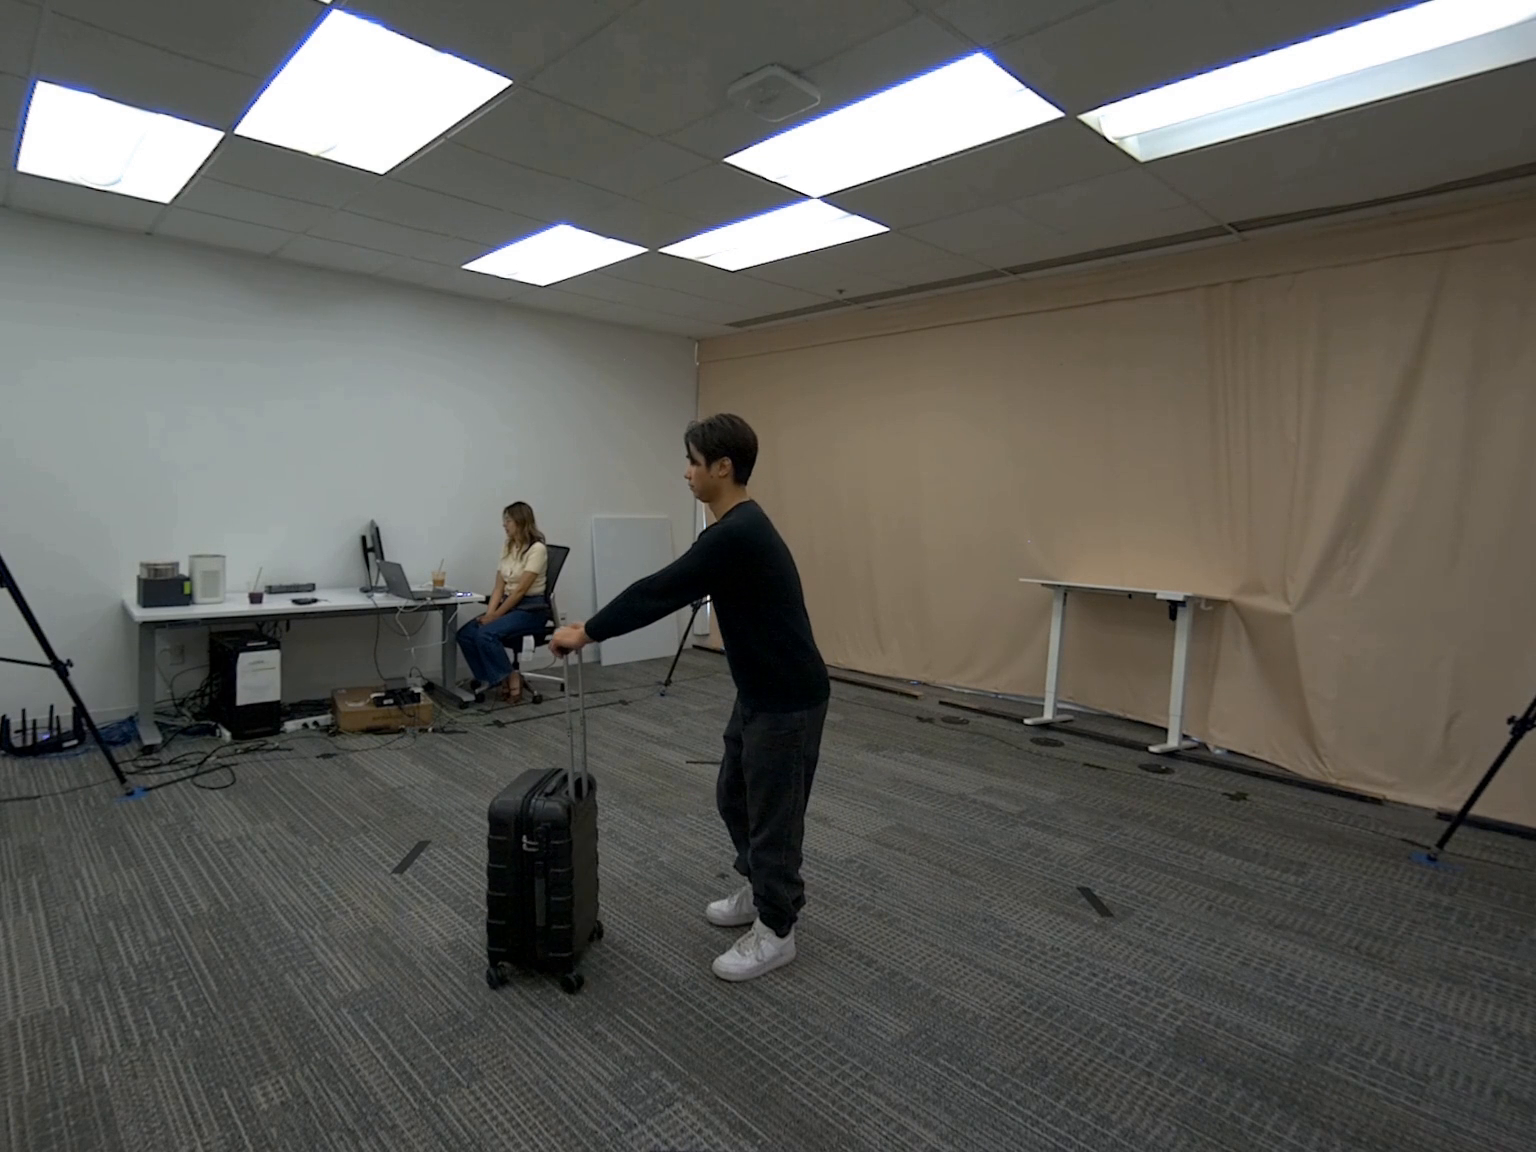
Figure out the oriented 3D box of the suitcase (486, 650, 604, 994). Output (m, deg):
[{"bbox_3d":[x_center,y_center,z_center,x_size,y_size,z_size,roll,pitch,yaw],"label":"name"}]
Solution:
[{"bbox_3d":[-0.670,0.674,2.512,0.258,0.978,0.383,-2,1,4],"label":"suitcase"}]
